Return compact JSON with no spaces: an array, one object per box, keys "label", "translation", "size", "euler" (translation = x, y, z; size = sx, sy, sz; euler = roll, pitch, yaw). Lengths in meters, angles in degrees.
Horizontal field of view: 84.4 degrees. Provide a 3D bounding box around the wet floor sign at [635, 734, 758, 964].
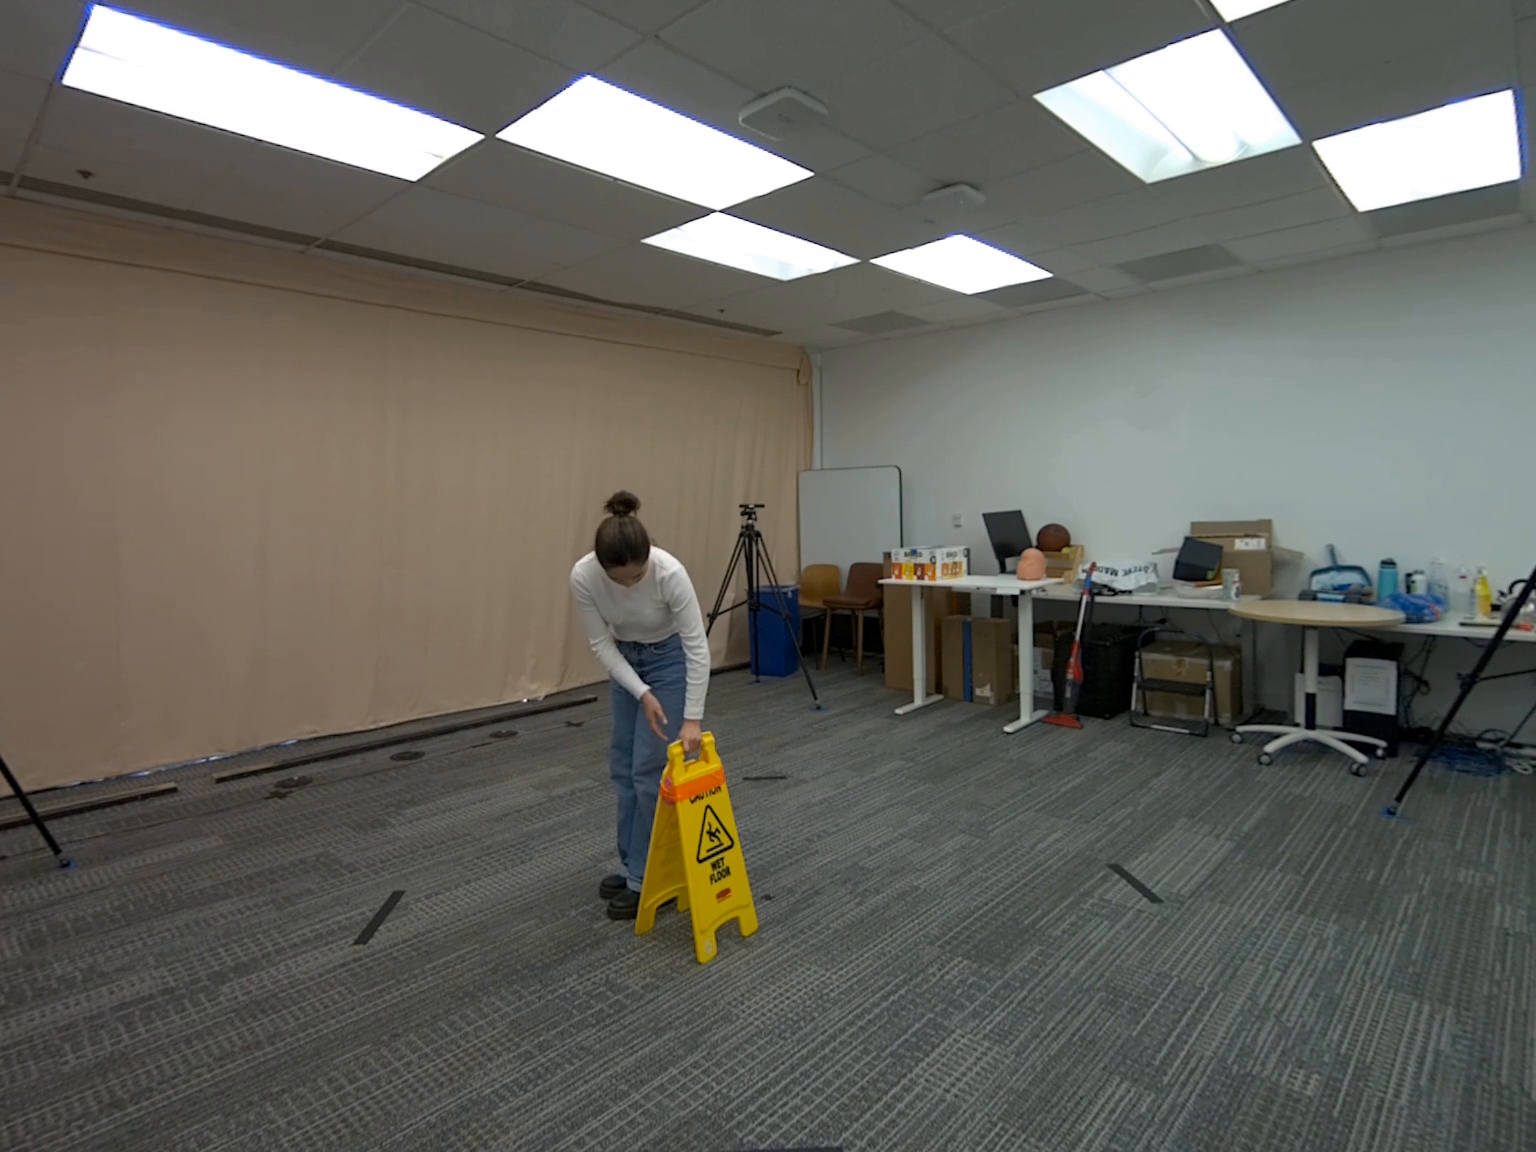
[{"label":"wet floor sign","translation":[-0.239,0.844,2.731],"size":[0.299,0.645,0.274],"euler":[0,3,39]}]
